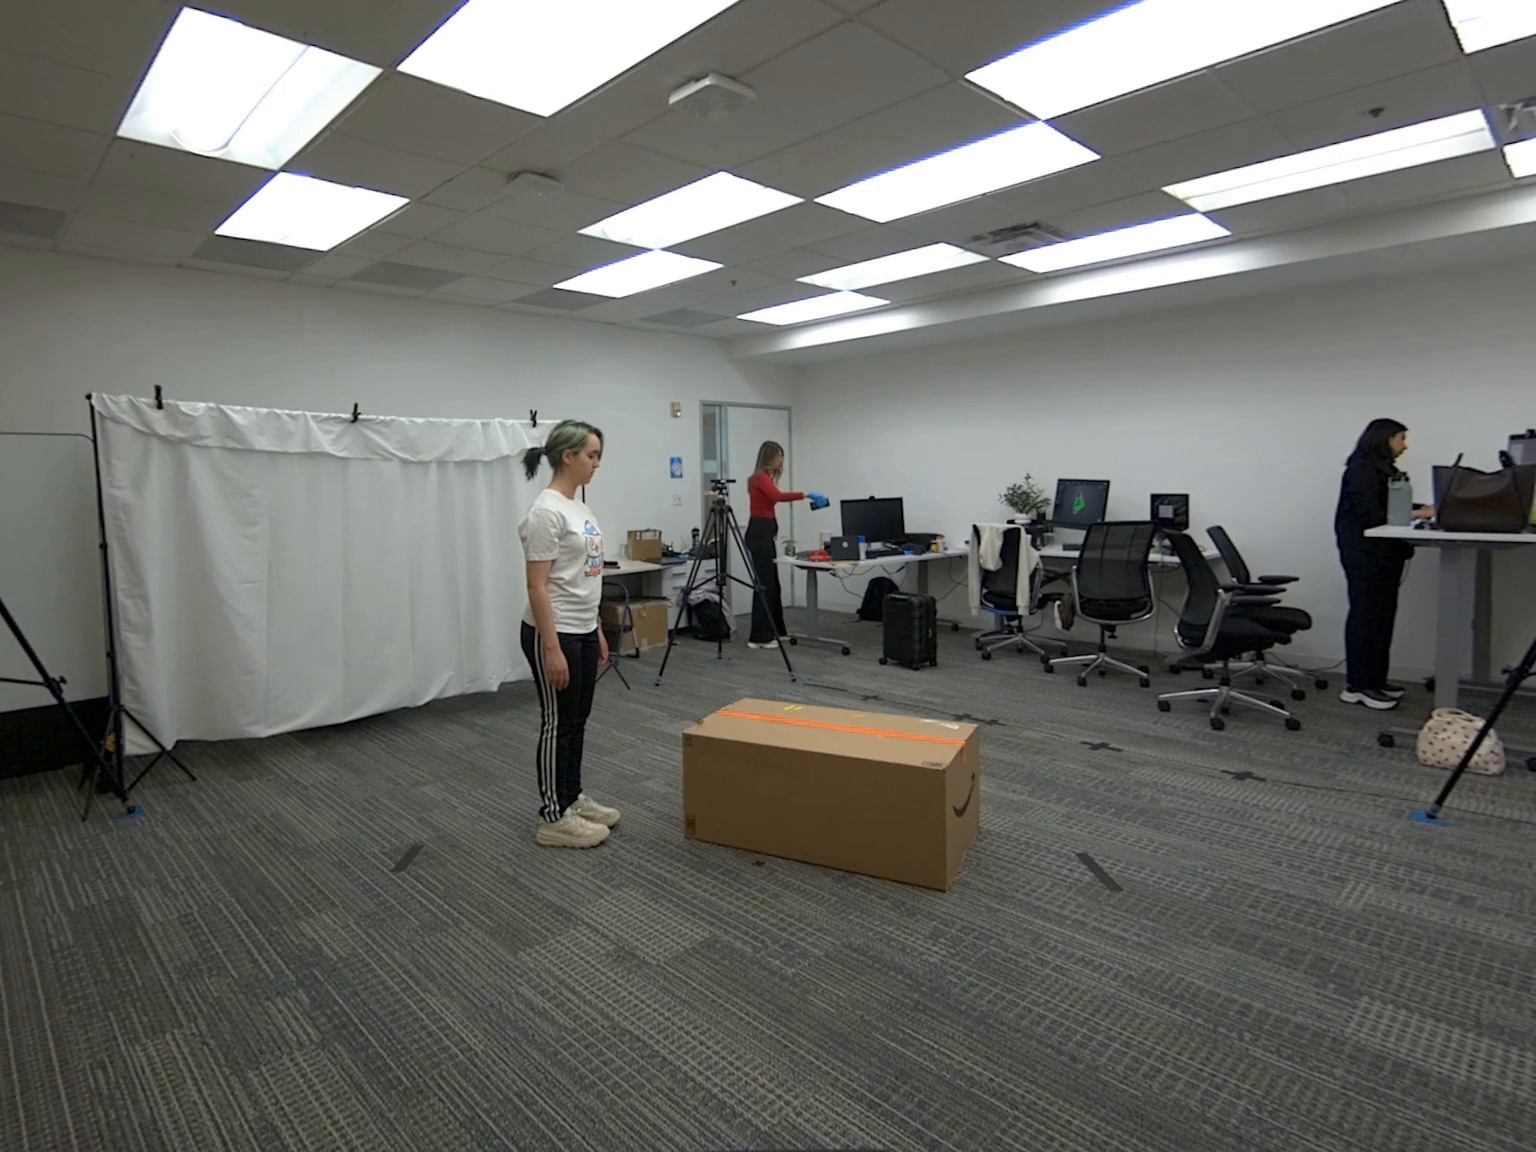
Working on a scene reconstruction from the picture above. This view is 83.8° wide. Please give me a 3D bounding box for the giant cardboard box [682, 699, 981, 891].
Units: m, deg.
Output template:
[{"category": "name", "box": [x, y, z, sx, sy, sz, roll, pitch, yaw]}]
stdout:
[{"category": "giant cardboard box", "box": [0.247, 0.799, 3.339, 1.051, 0.424, 0.566, 2, 6, 27]}]
